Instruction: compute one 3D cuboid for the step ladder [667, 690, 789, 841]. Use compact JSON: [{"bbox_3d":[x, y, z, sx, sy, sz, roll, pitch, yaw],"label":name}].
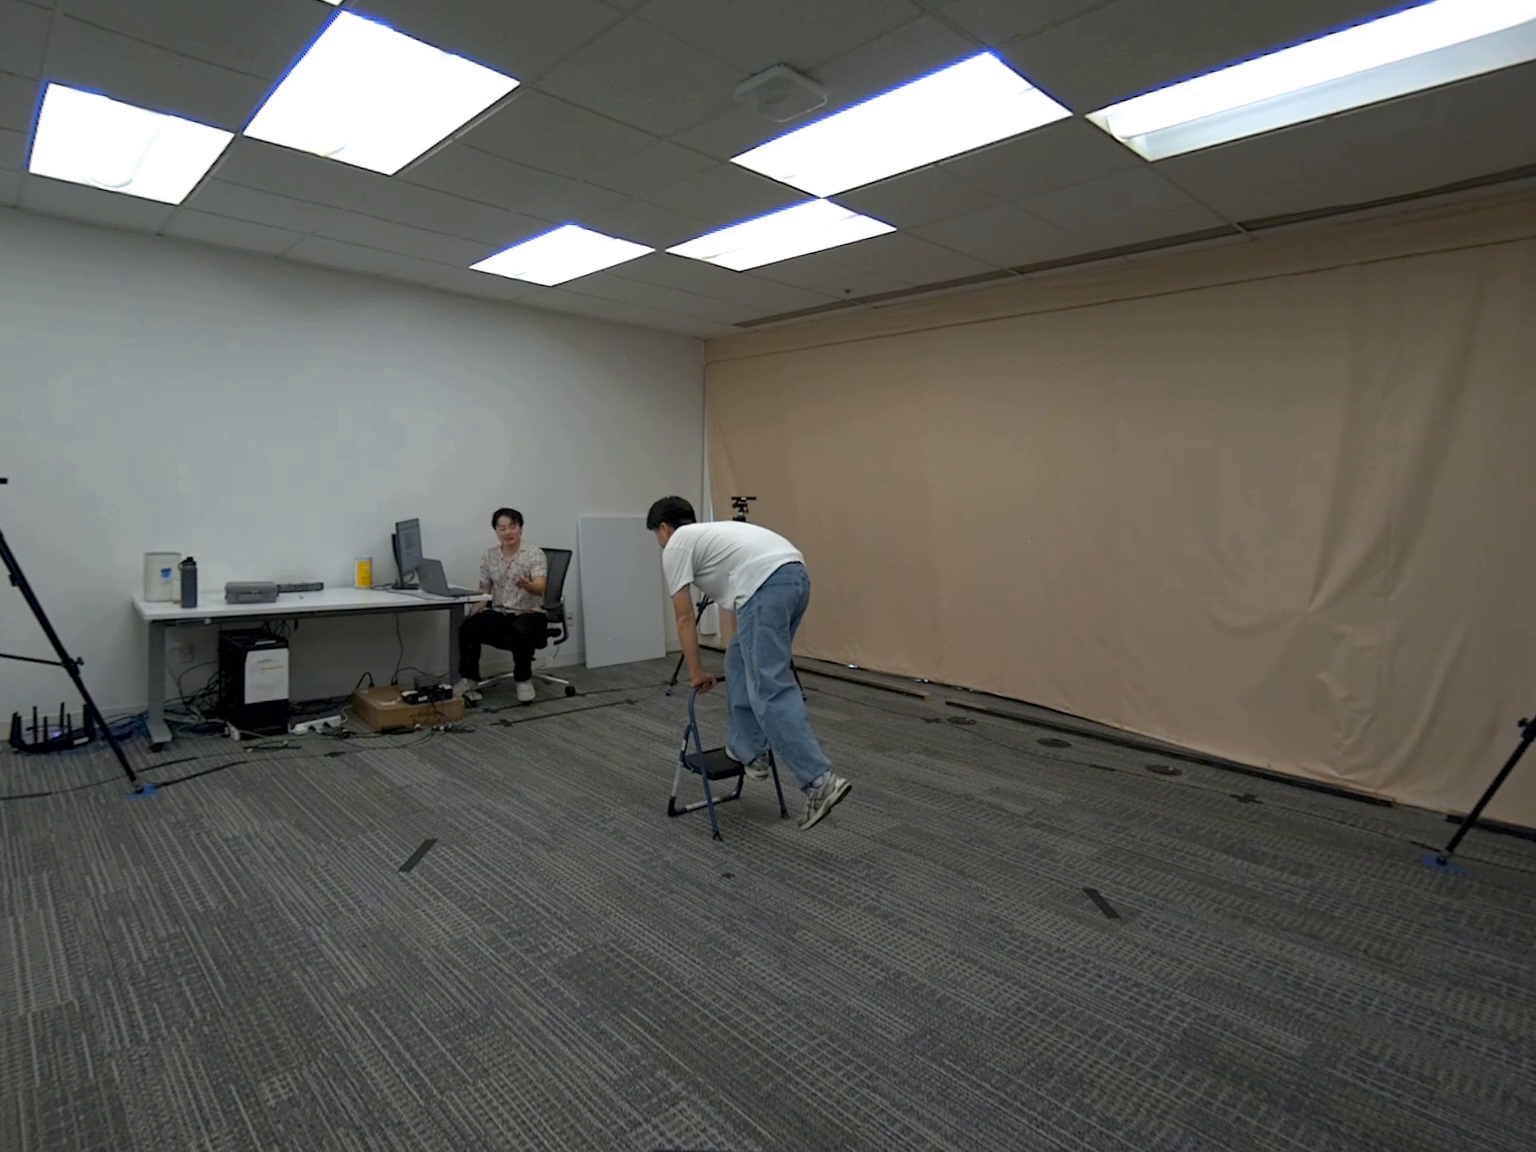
[{"bbox_3d":[-0.175,0.753,3.674,0.421,0.604,0.358,-2,5,-44],"label":"step ladder"}]
